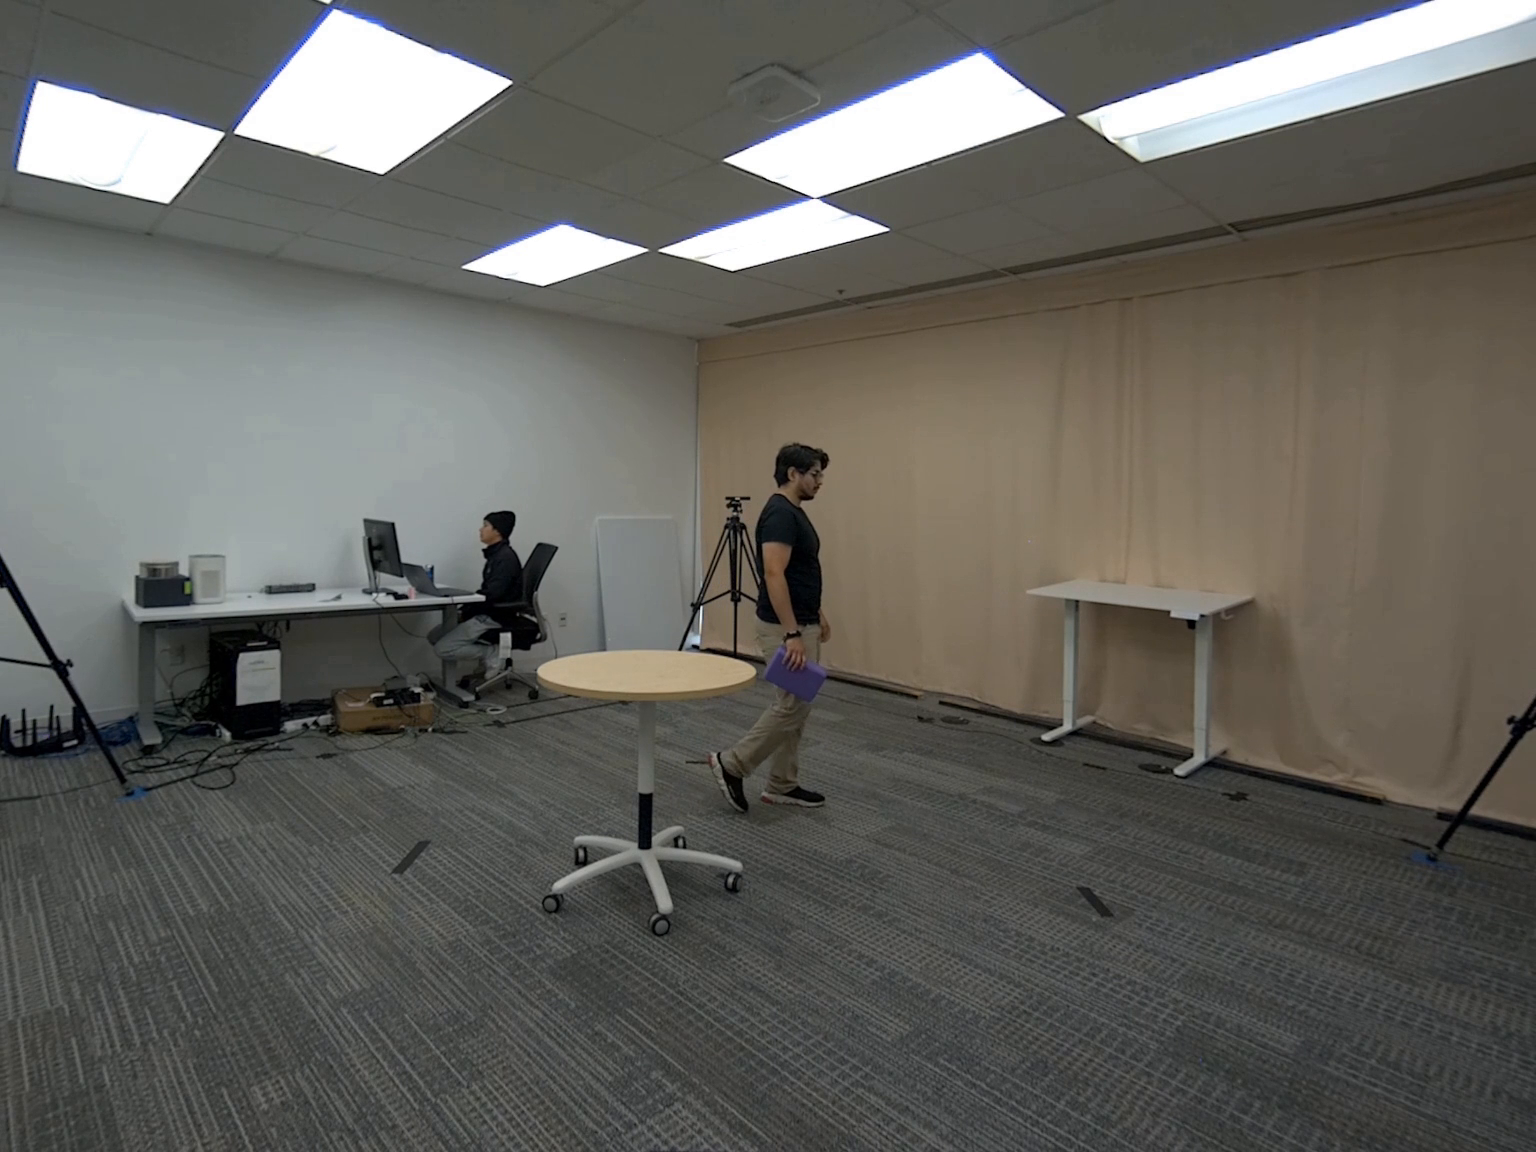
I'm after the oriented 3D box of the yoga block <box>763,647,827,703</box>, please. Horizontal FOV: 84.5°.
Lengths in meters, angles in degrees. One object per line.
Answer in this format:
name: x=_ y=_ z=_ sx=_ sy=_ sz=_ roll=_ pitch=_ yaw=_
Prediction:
yoga block: x=0.103 y=0.417 z=3.551 sx=0.229 sy=0.148 sz=0.077 roll=28 pitch=13 yaw=0
